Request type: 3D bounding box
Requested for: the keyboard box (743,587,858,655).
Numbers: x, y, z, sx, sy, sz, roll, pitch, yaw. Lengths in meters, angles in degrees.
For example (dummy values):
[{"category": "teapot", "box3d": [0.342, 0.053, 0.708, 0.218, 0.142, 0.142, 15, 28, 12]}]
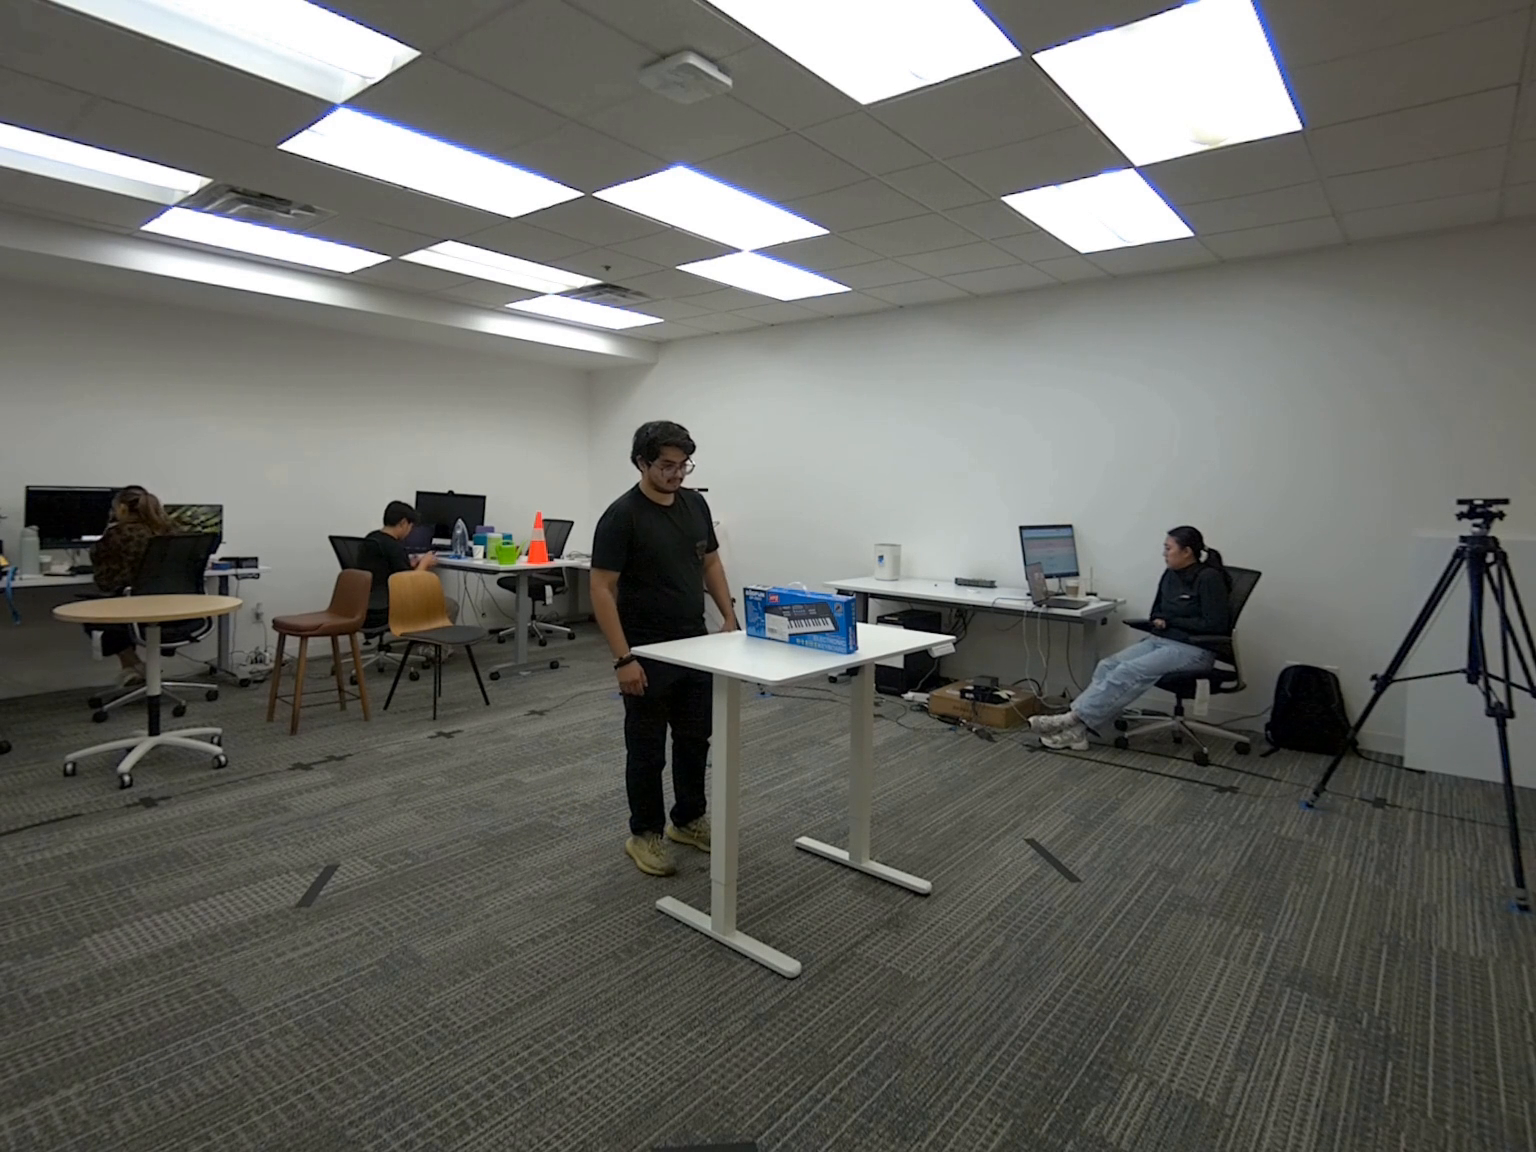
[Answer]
[{"category": "keyboard box", "box3d": [0.090, 0.137, 2.802, 0.452, 0.174, 0.057, 6, 13, 43]}]
